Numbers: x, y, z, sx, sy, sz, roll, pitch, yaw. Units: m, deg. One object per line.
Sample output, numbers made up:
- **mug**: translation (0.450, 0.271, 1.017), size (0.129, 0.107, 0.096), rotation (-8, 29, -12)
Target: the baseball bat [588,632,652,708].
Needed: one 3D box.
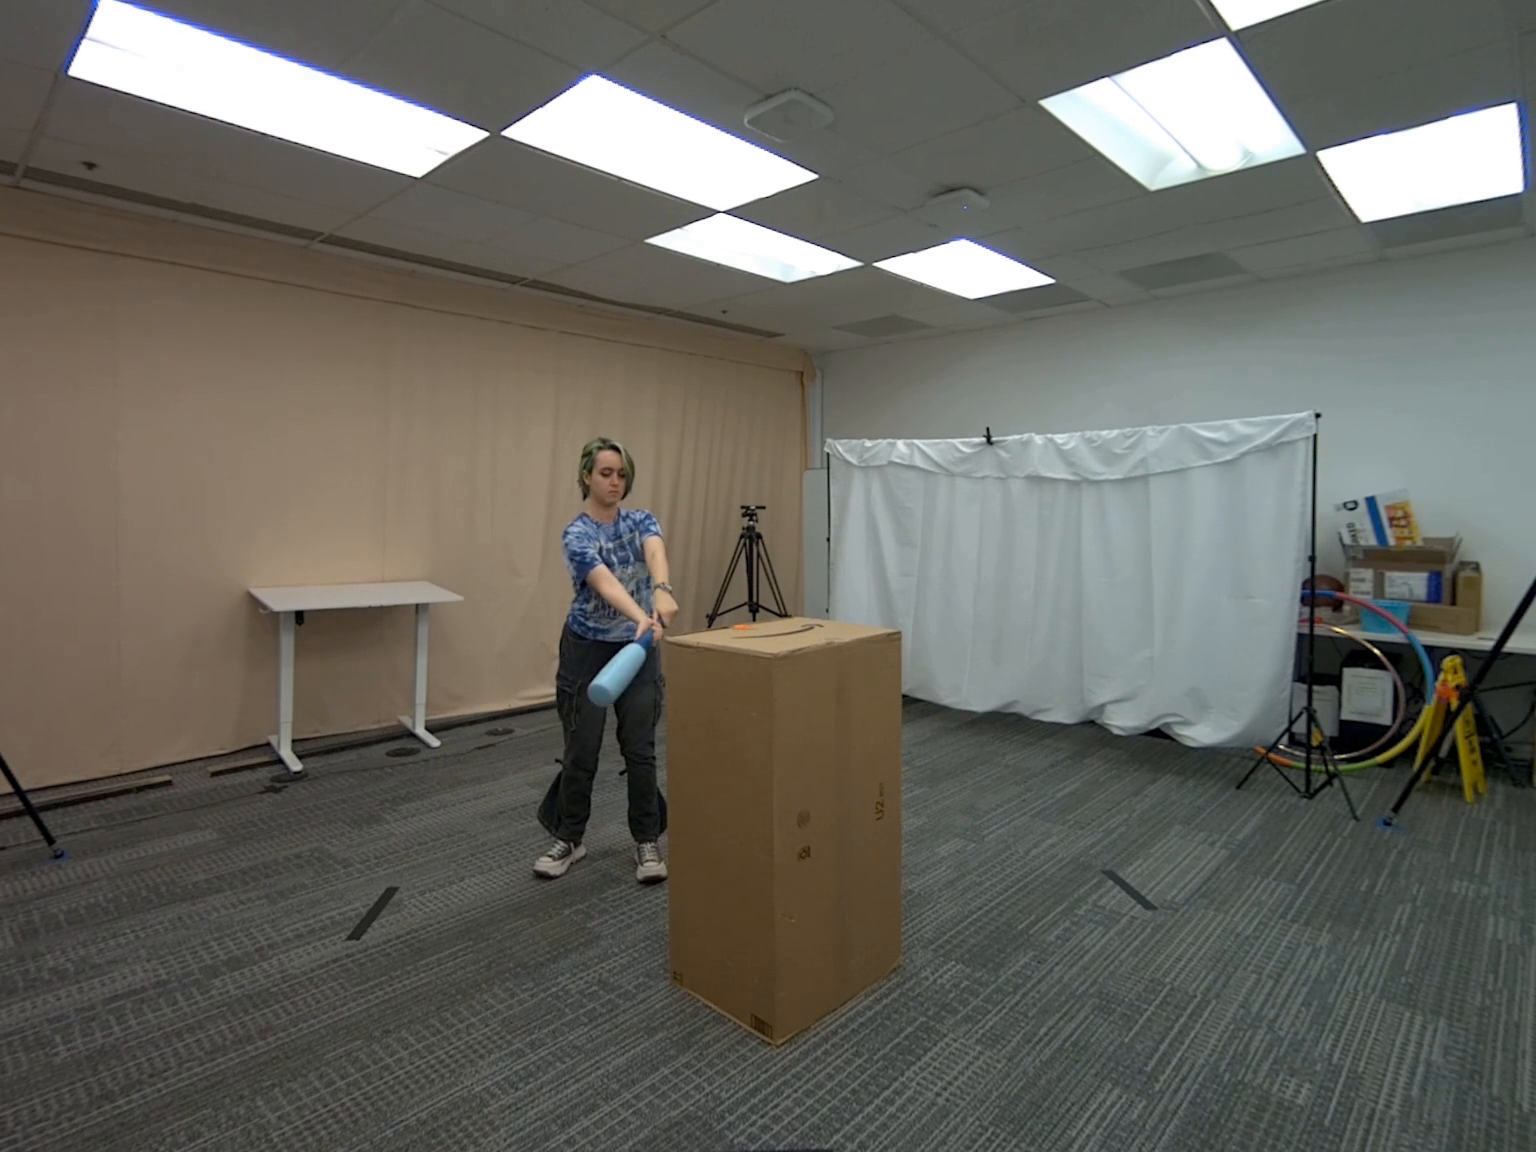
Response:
- **baseball bat**: translation (-0.419, 0.227, 2.626), size (0.091, 0.087, 0.541), rotation (1, 26, 18)
